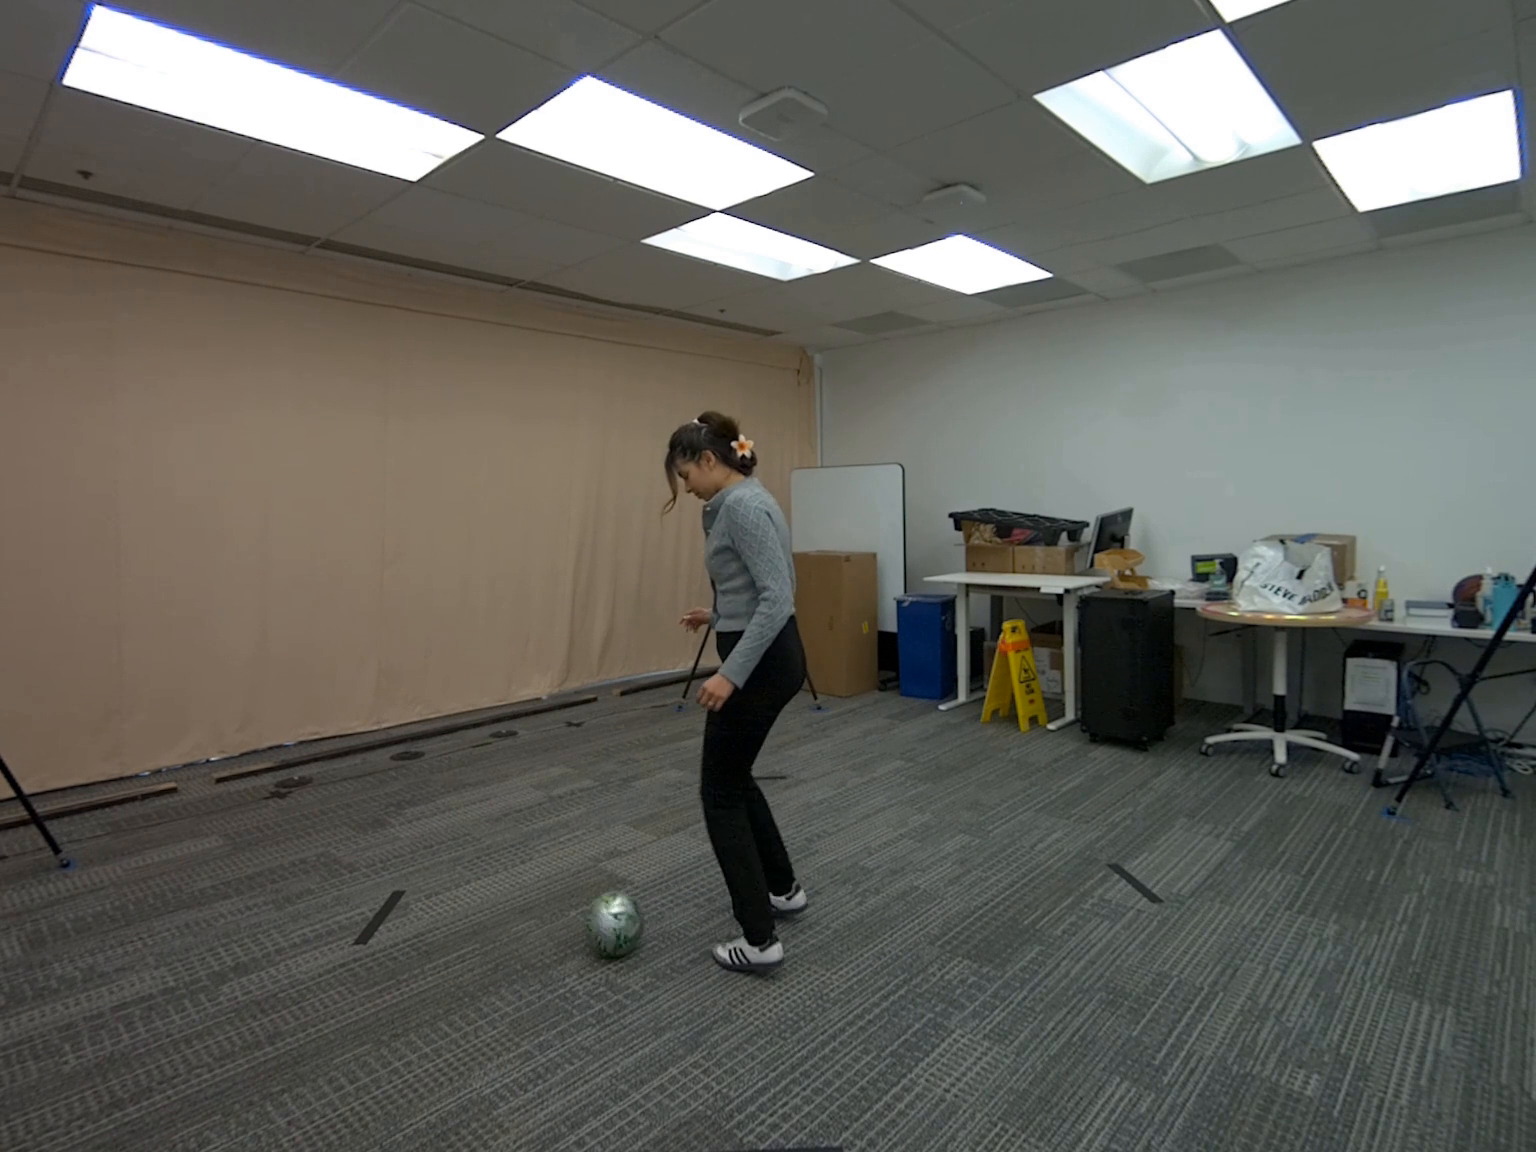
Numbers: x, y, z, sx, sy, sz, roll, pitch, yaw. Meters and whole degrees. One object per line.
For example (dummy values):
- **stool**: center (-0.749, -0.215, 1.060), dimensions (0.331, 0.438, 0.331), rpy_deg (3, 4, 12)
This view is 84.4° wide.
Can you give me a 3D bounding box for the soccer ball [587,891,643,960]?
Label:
- **soccer ball**: center (-0.477, 1.087, 2.628), dimensions (0.187, 0.187, 0.188), rpy_deg (-1, 4, -2)
